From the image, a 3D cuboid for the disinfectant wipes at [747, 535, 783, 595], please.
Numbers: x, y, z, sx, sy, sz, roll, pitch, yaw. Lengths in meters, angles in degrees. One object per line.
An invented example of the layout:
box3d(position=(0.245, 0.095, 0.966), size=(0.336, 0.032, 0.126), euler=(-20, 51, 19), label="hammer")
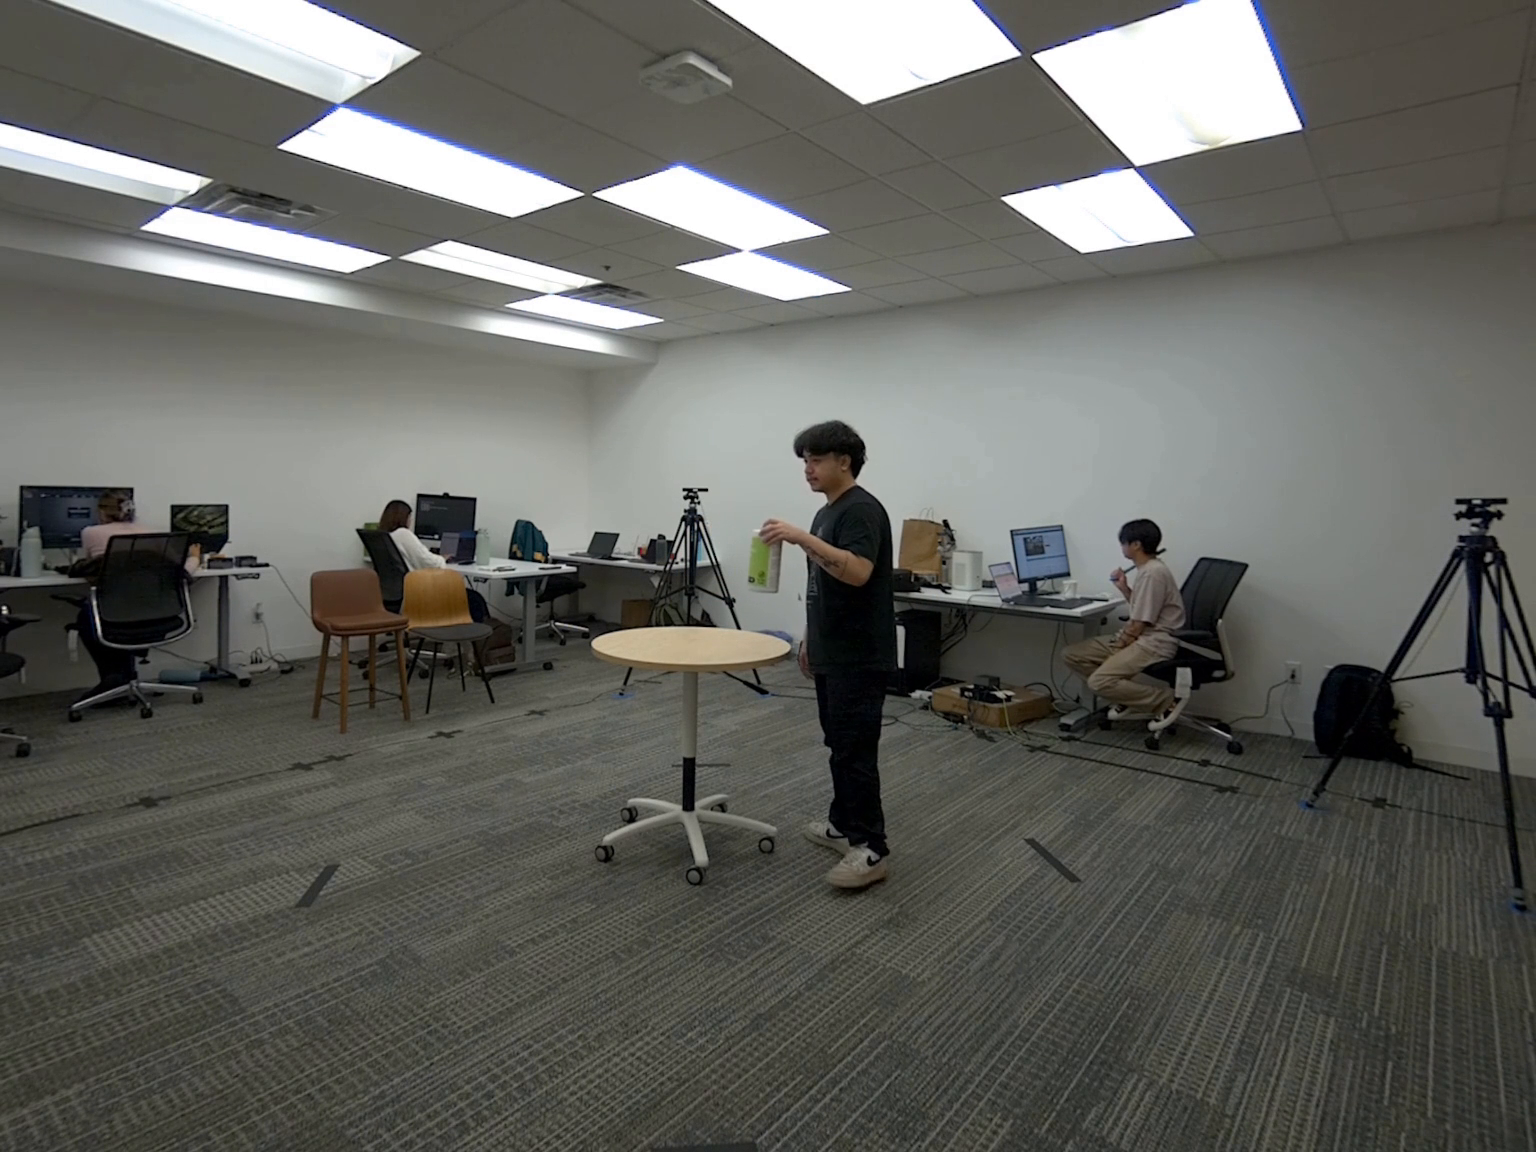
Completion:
box3d(position=(-0.014, -0.054, 2.991), size=(0.118, 0.217, 0.118), euler=(4, 1, -2), label="disinfectant wipes")
